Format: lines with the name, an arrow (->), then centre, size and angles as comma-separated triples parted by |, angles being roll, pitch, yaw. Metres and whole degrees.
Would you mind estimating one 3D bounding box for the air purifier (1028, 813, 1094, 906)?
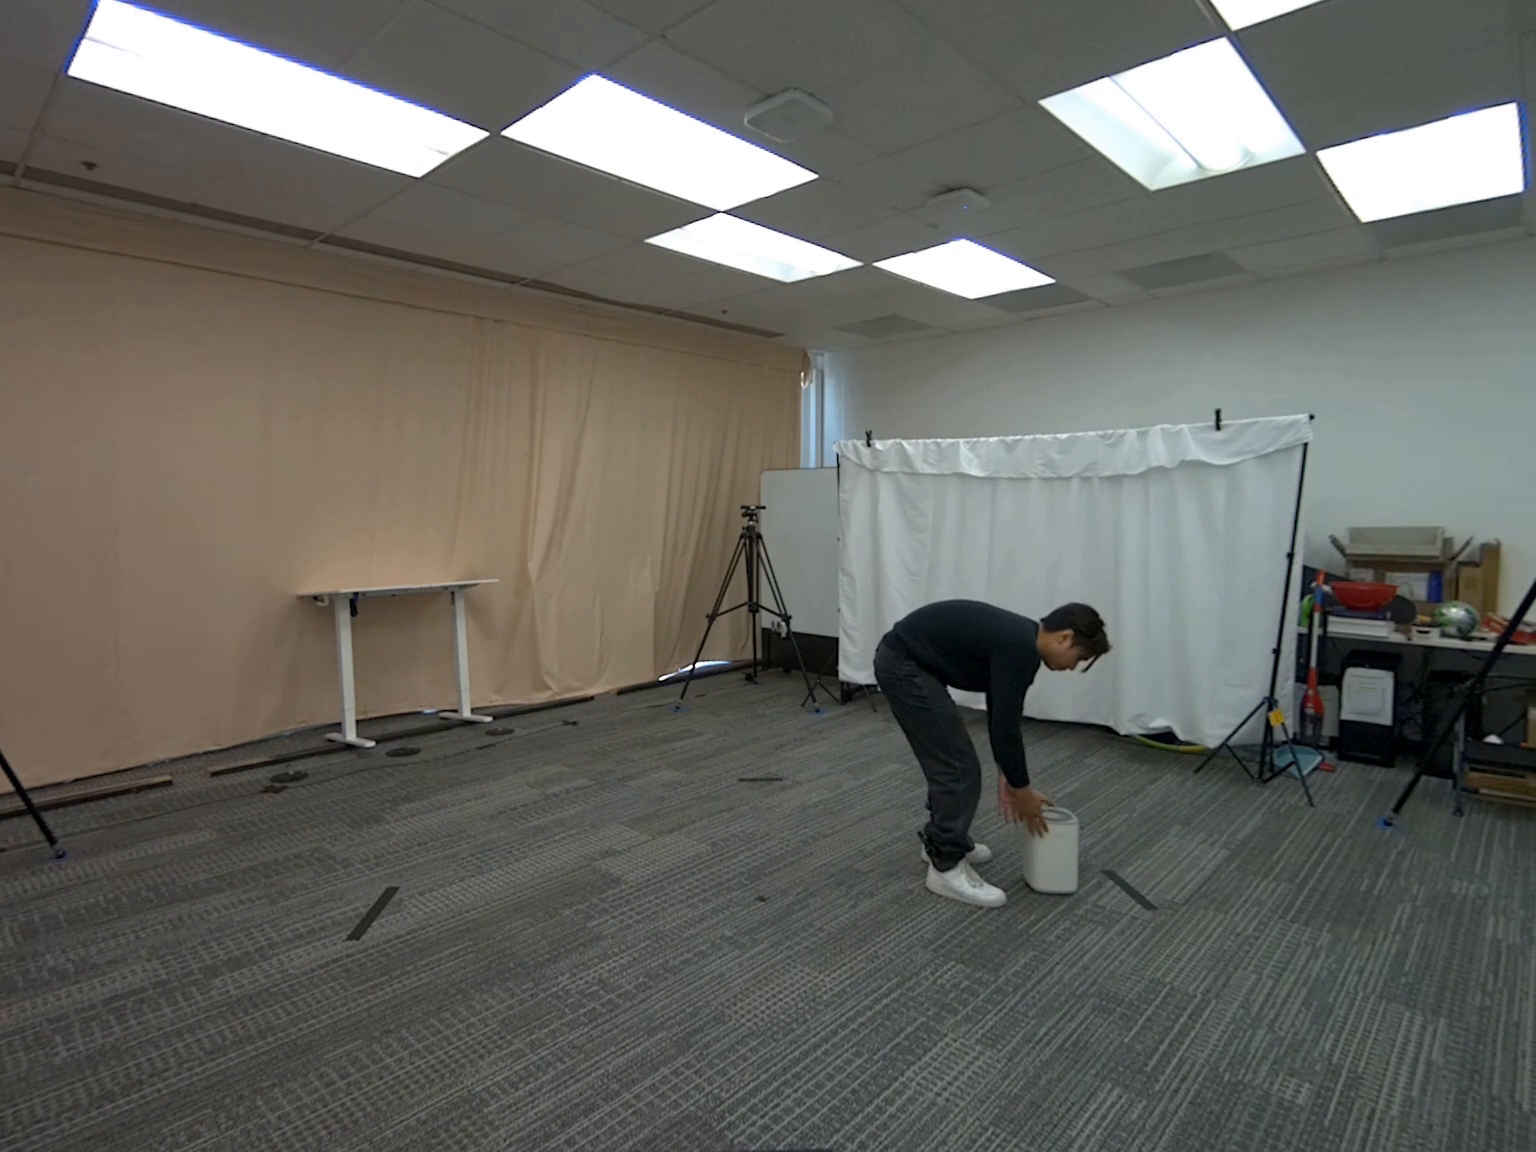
air purifier -> 1.054, 1.015, 3.060 | 0.172, 0.265, 0.171 | 1, 2, 4
